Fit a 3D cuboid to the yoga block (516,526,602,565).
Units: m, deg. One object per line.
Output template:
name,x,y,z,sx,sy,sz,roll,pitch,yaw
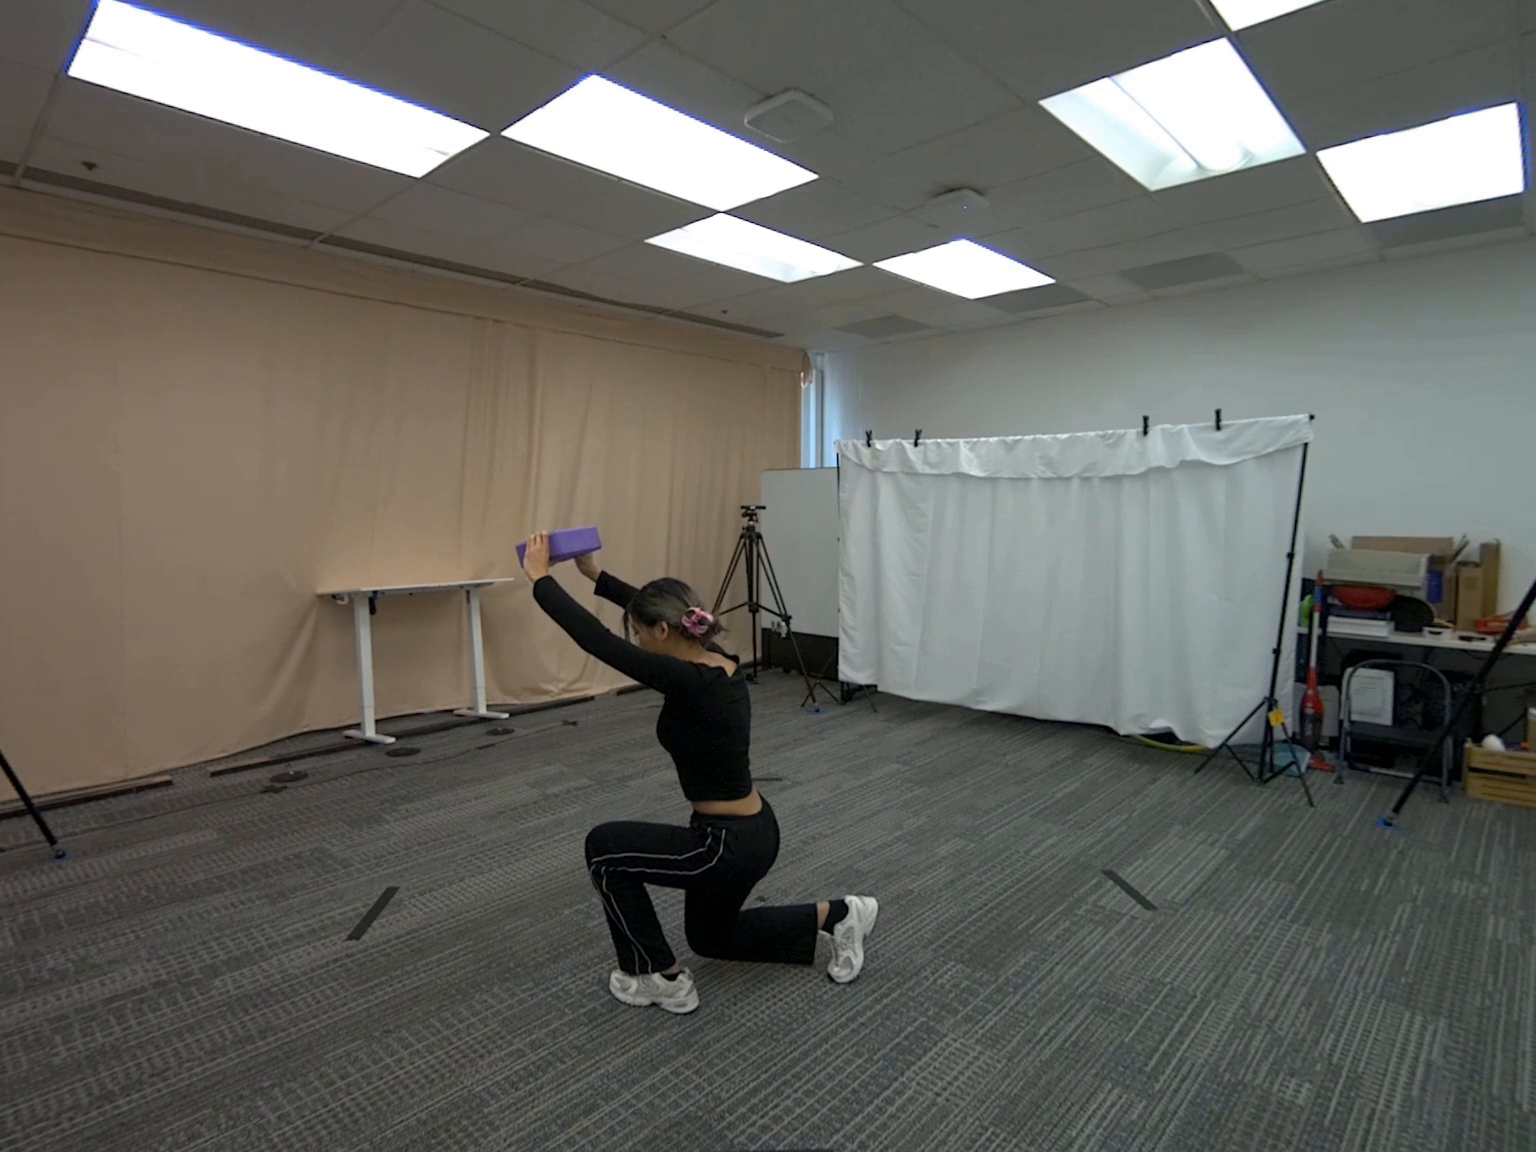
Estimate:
yoga block,-0.607,-0.090,2.442,0.151,0.076,0.226,-17,3,18
